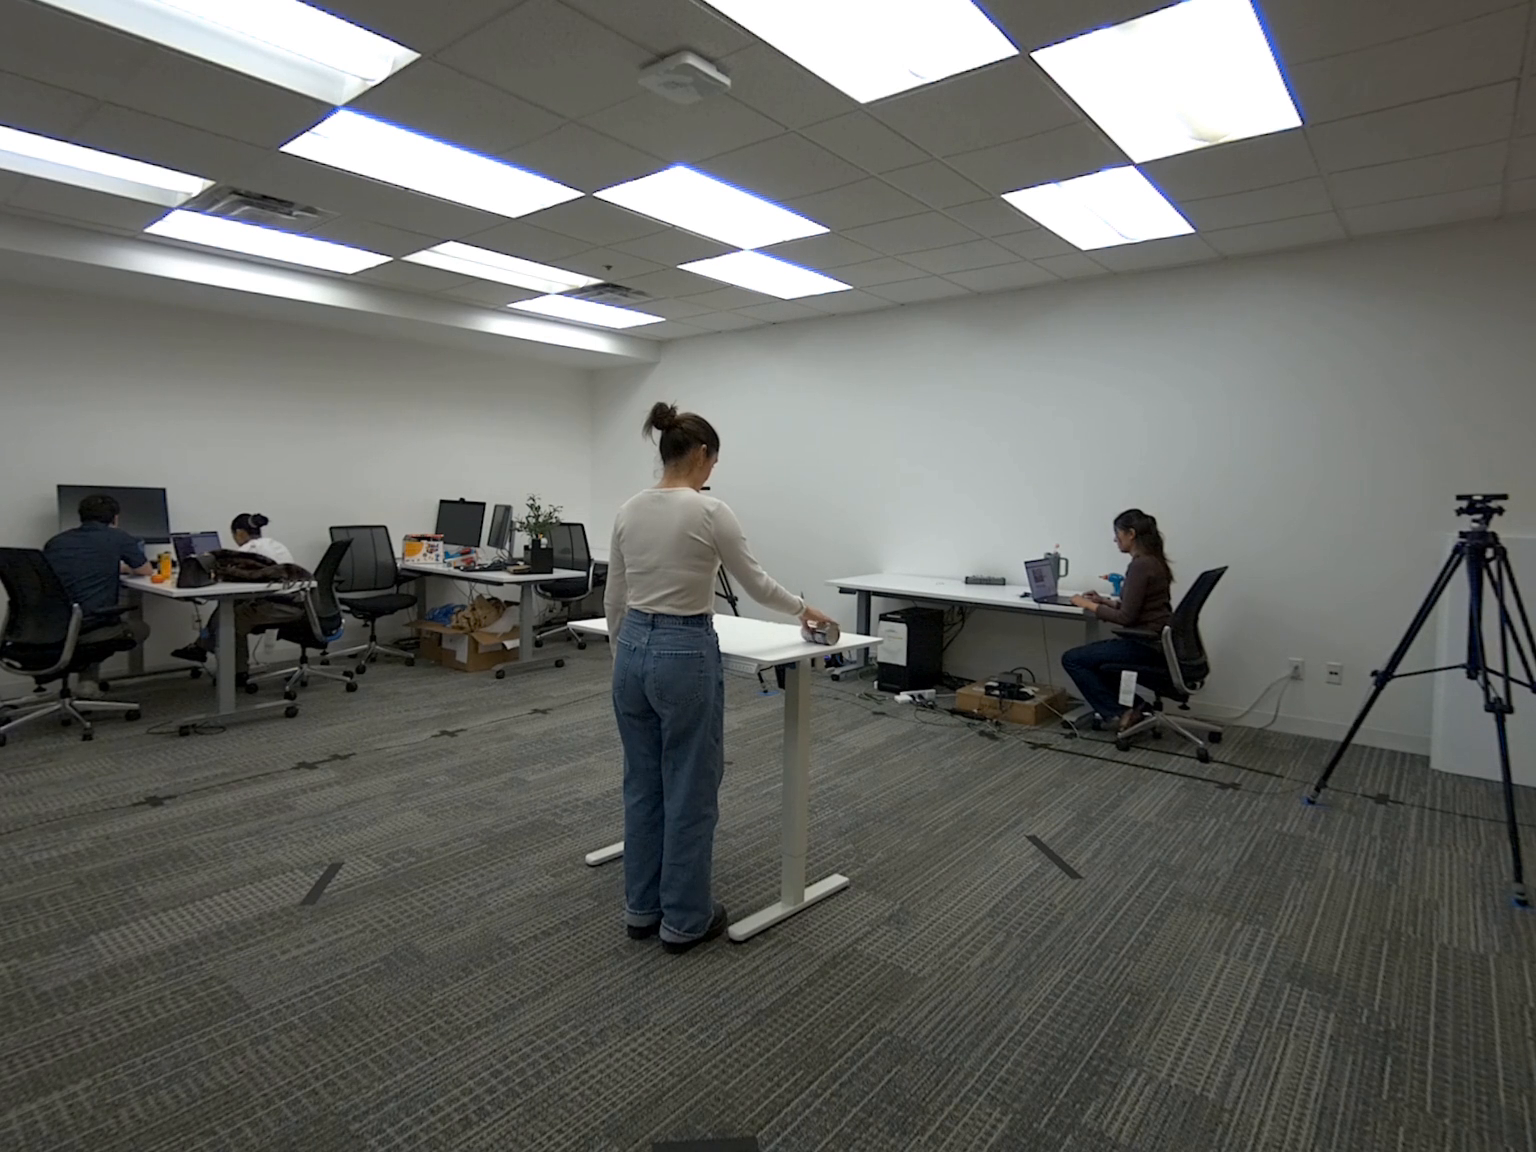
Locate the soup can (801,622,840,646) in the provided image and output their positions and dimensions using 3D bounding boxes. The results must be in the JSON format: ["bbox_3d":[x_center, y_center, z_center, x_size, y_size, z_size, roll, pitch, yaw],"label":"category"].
[{"bbox_3d":[0.159,0.184,2.804,0.121,0.067,0.068,-4,4,-4],"label":"soup can"}]
